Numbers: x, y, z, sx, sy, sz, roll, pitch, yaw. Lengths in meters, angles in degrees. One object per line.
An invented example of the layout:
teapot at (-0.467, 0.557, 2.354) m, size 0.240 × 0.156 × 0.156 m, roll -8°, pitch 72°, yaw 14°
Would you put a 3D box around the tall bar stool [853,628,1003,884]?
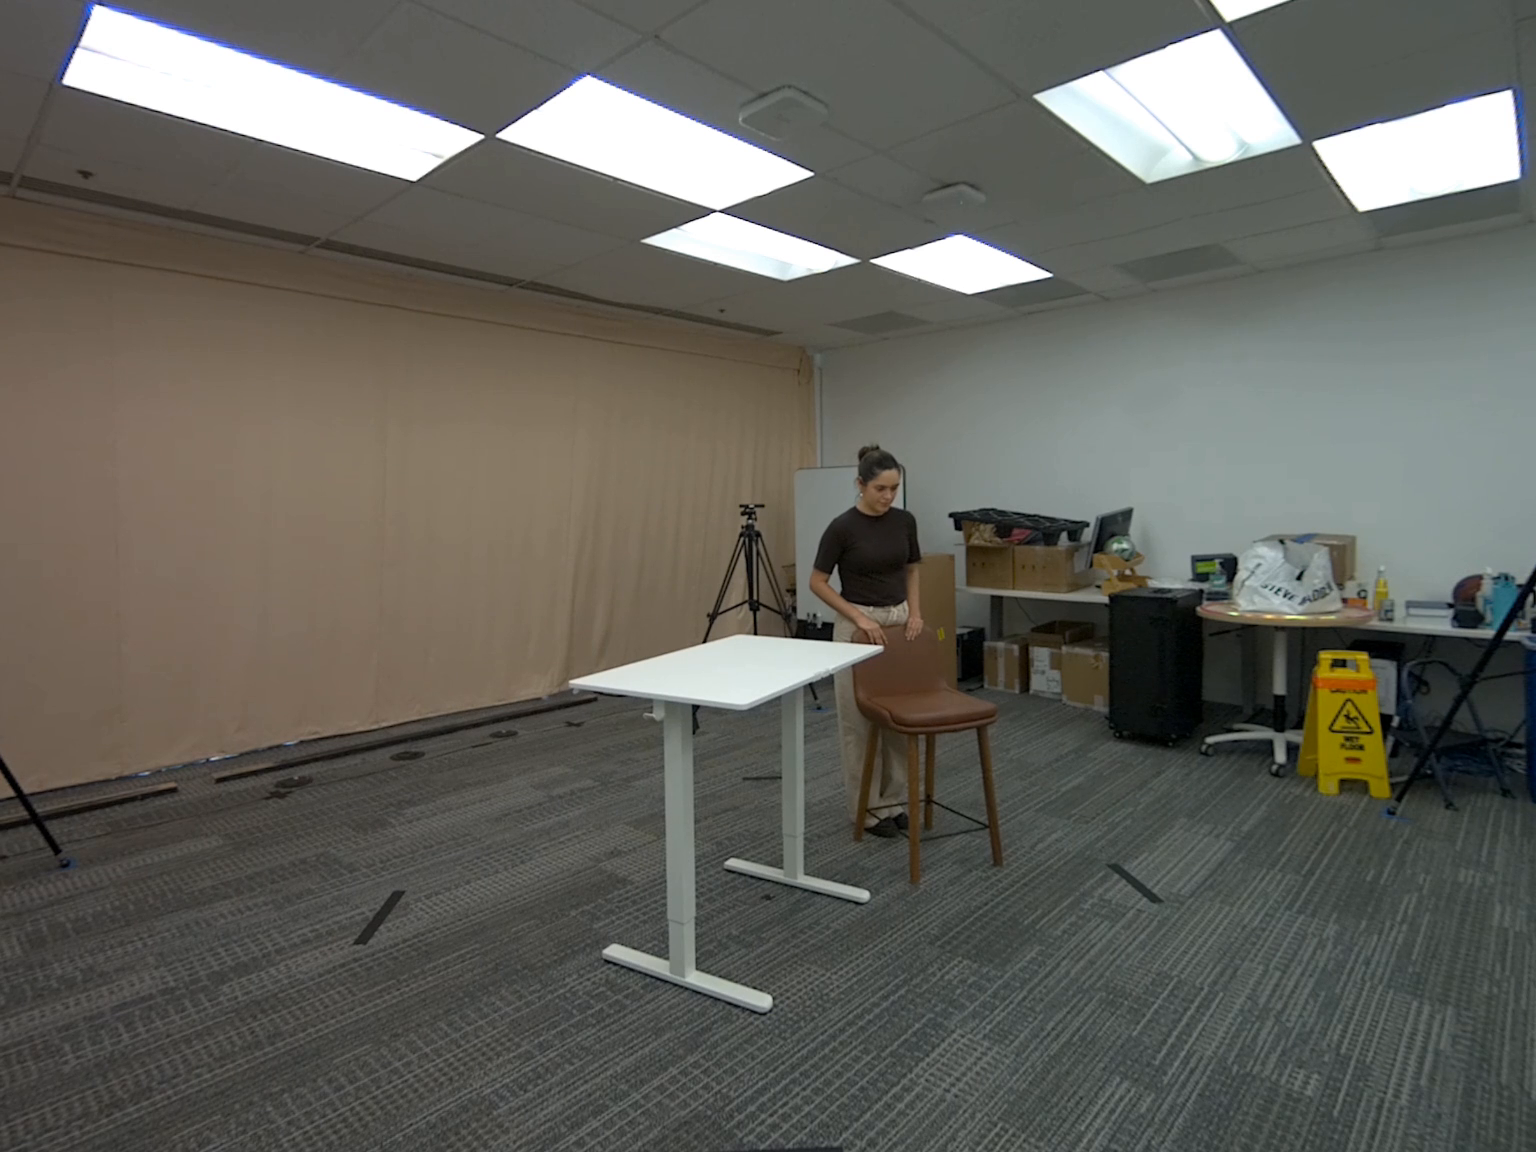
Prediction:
tall bar stool at (0.612, 0.658, 3.323) m, size 0.446 × 0.889 × 0.478 m, roll -2°, pitch 2°, yaw -23°
